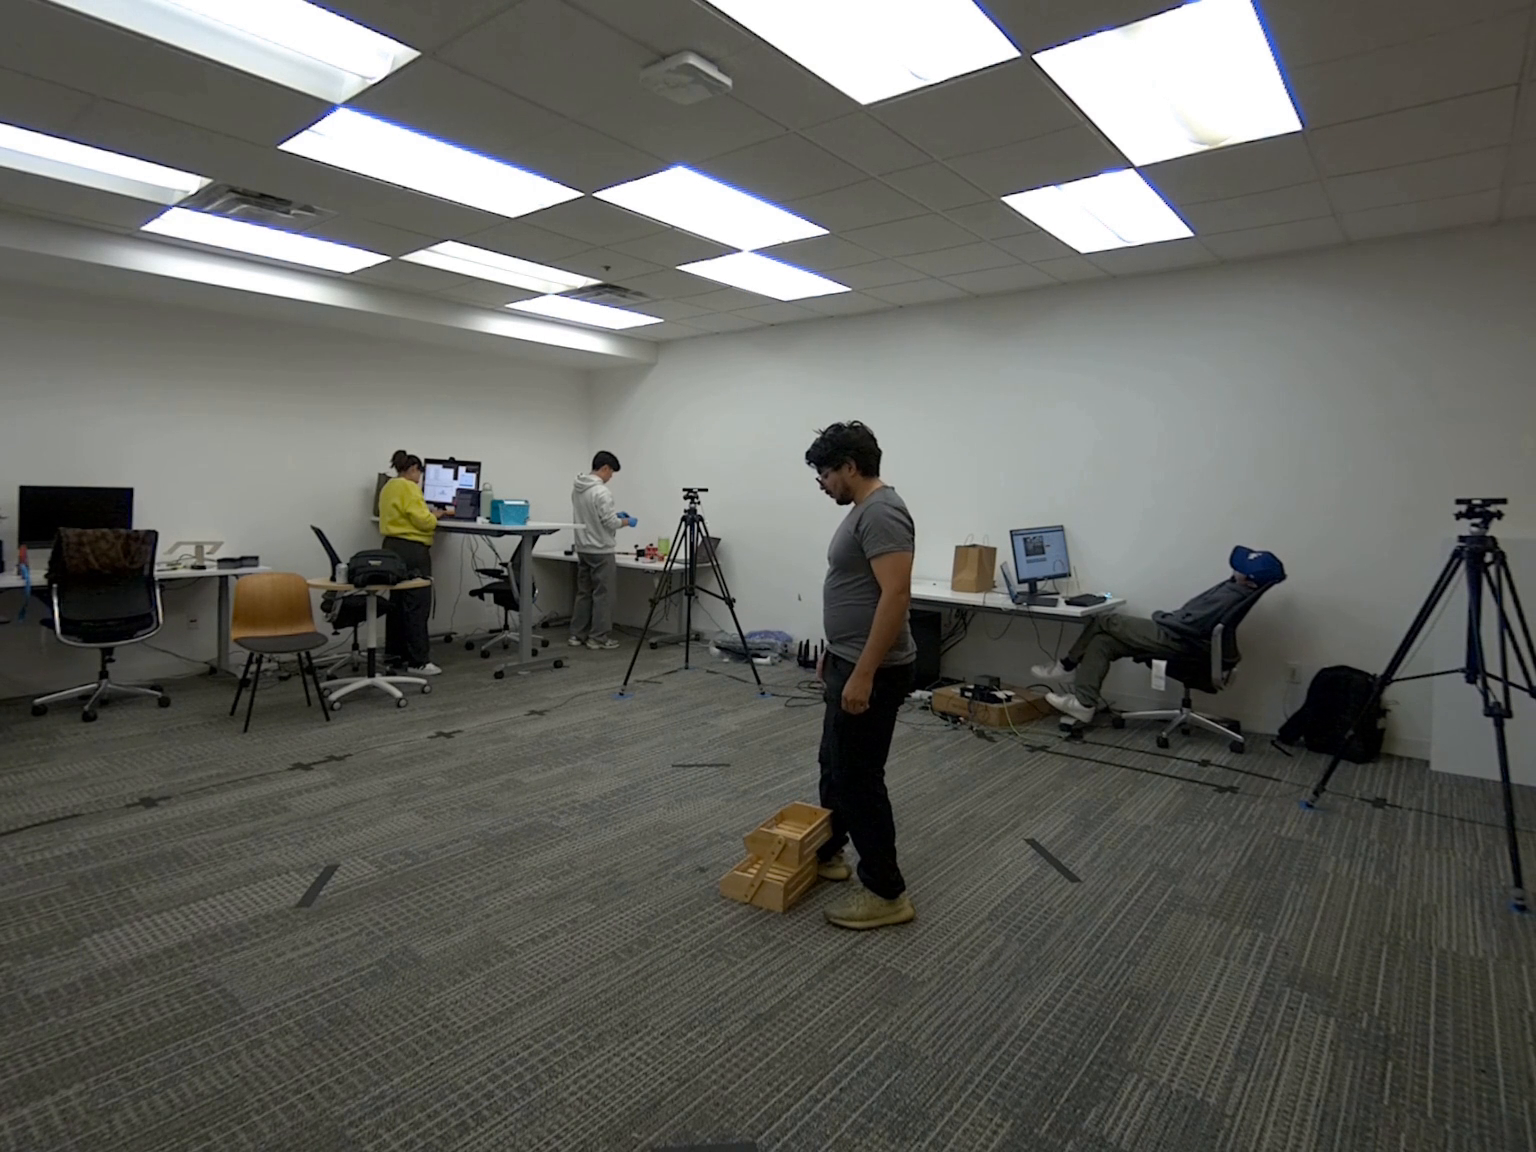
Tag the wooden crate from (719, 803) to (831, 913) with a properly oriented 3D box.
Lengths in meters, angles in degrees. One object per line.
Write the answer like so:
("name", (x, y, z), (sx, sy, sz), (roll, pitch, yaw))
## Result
("wooden crate", (0.015, 0.955, 2.963), (0.310, 0.272, 0.317), (5, 5, 26))
